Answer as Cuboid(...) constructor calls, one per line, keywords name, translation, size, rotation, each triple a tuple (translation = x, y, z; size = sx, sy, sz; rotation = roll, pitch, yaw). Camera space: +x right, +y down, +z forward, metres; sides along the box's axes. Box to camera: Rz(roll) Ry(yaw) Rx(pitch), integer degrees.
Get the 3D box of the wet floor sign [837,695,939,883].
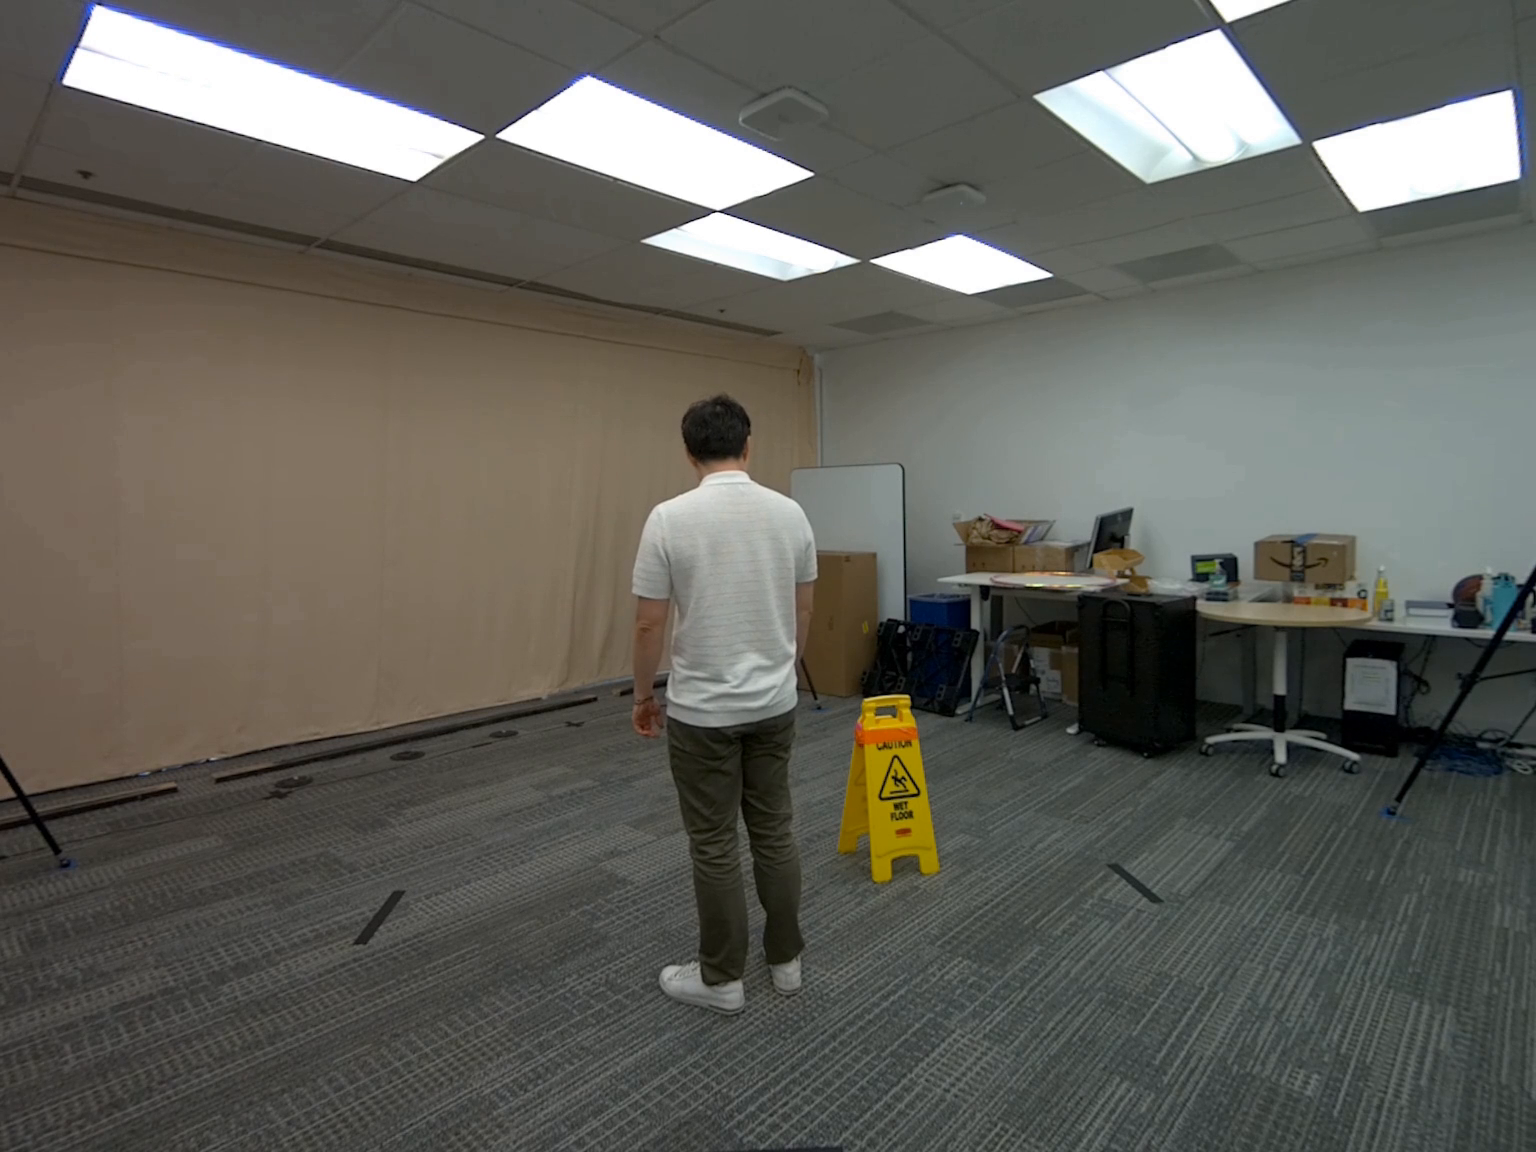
Cuboid(name="wet floor sign", translation=(0.458, 0.783, 3.250), size=(0.276, 0.645, 0.296), rotation=(-1, 2, -21))
